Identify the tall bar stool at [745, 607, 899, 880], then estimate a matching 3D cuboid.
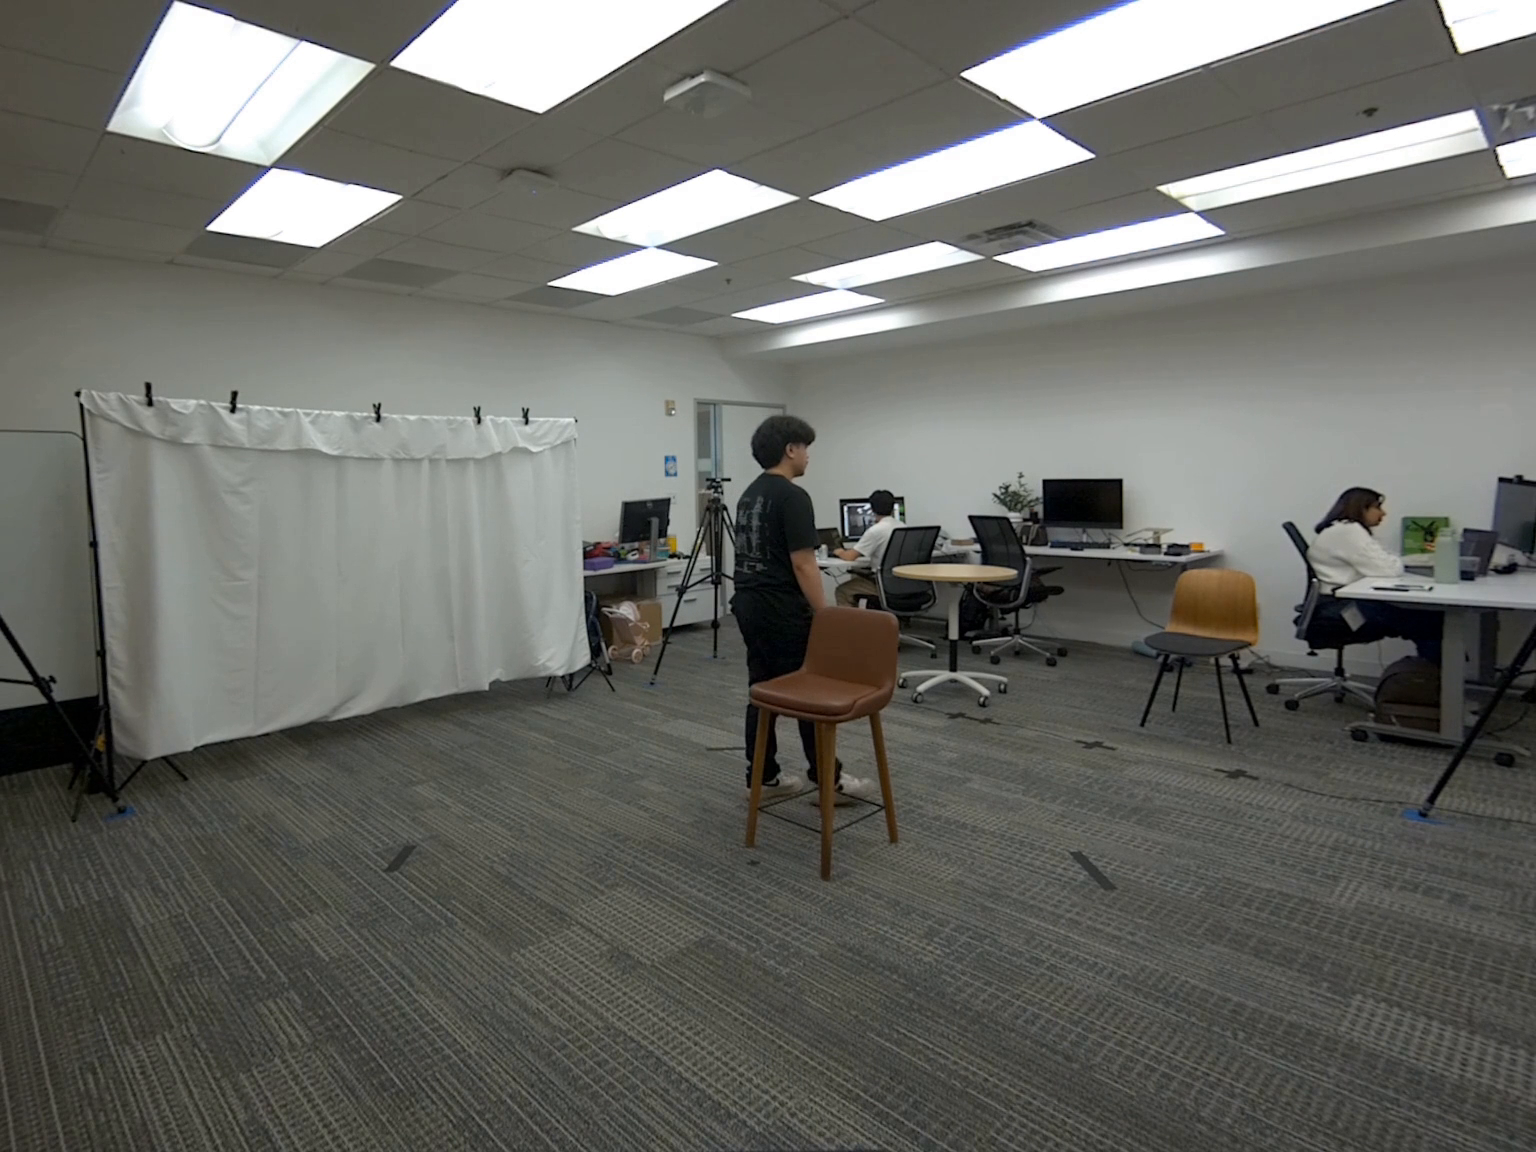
[{"bbox_3d":[0.214,0.588,3.227,0.454,0.888,0.470,-2,3,-44],"label":"tall bar stool"}]
